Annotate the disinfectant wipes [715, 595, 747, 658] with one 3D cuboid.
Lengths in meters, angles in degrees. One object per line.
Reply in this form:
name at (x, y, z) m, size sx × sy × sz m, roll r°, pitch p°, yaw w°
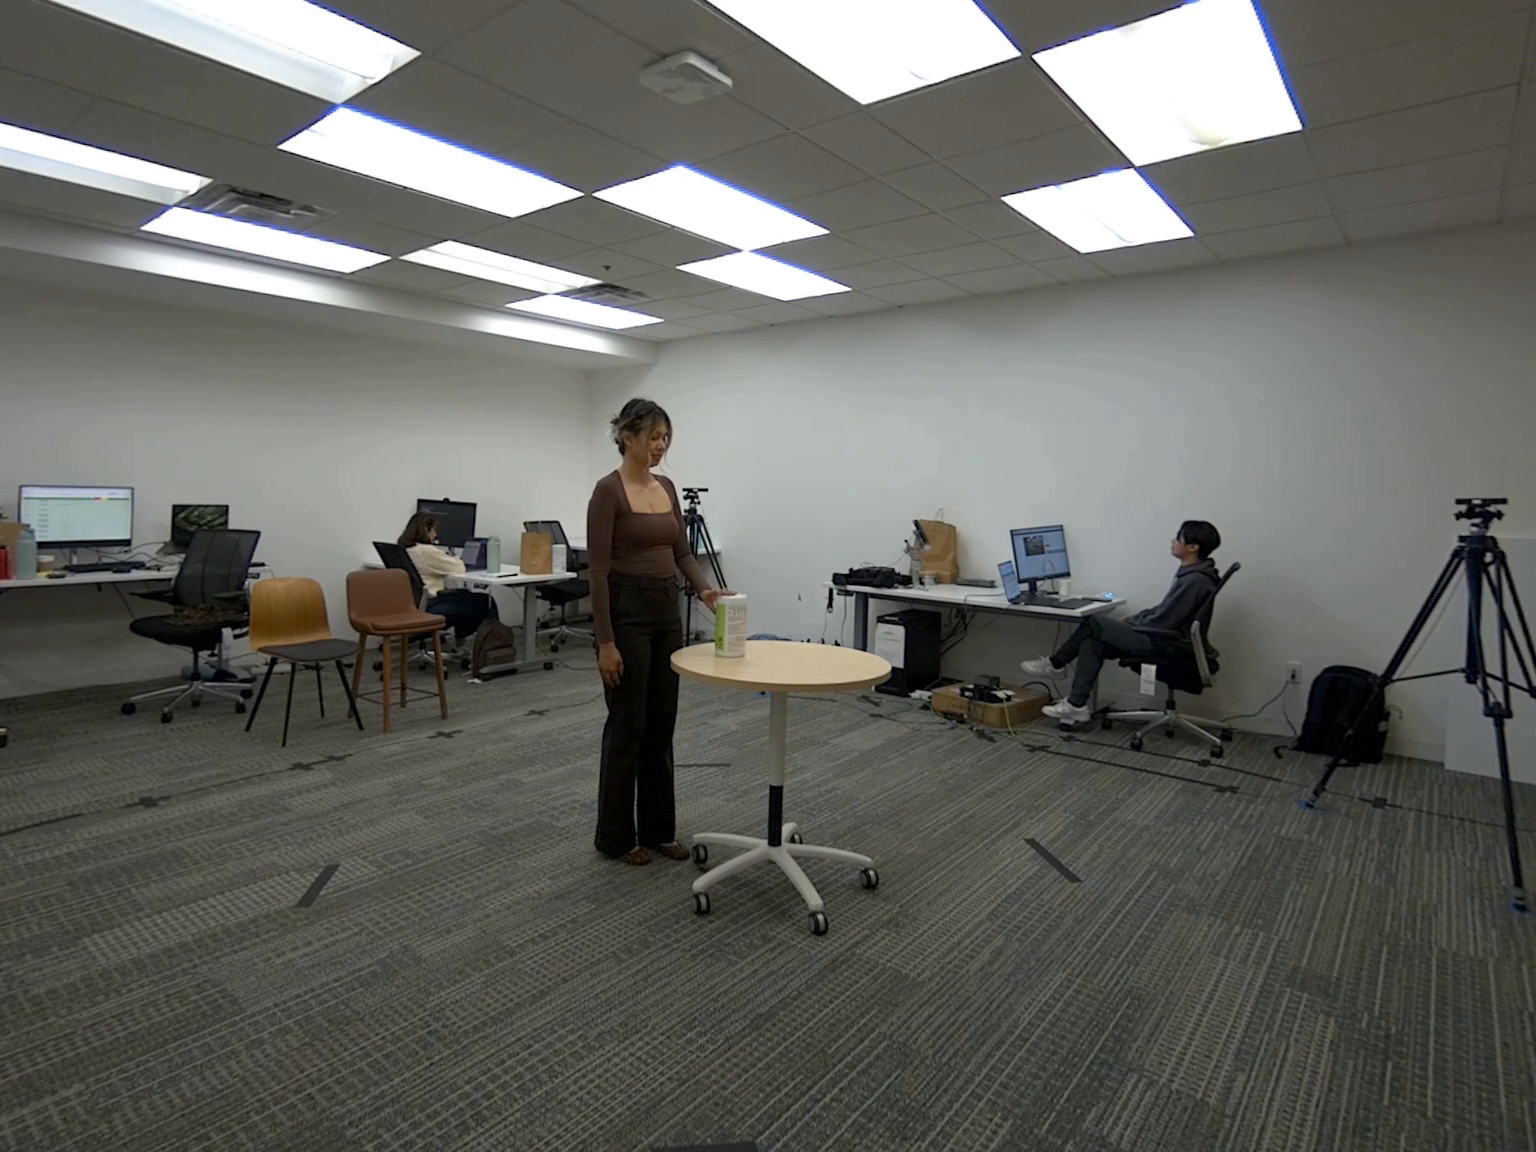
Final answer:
disinfectant wipes at (-0.143, 0.176, 3.028) m, size 0.118 × 0.217 × 0.118 m, roll 1°, pitch 2°, yaw -2°
